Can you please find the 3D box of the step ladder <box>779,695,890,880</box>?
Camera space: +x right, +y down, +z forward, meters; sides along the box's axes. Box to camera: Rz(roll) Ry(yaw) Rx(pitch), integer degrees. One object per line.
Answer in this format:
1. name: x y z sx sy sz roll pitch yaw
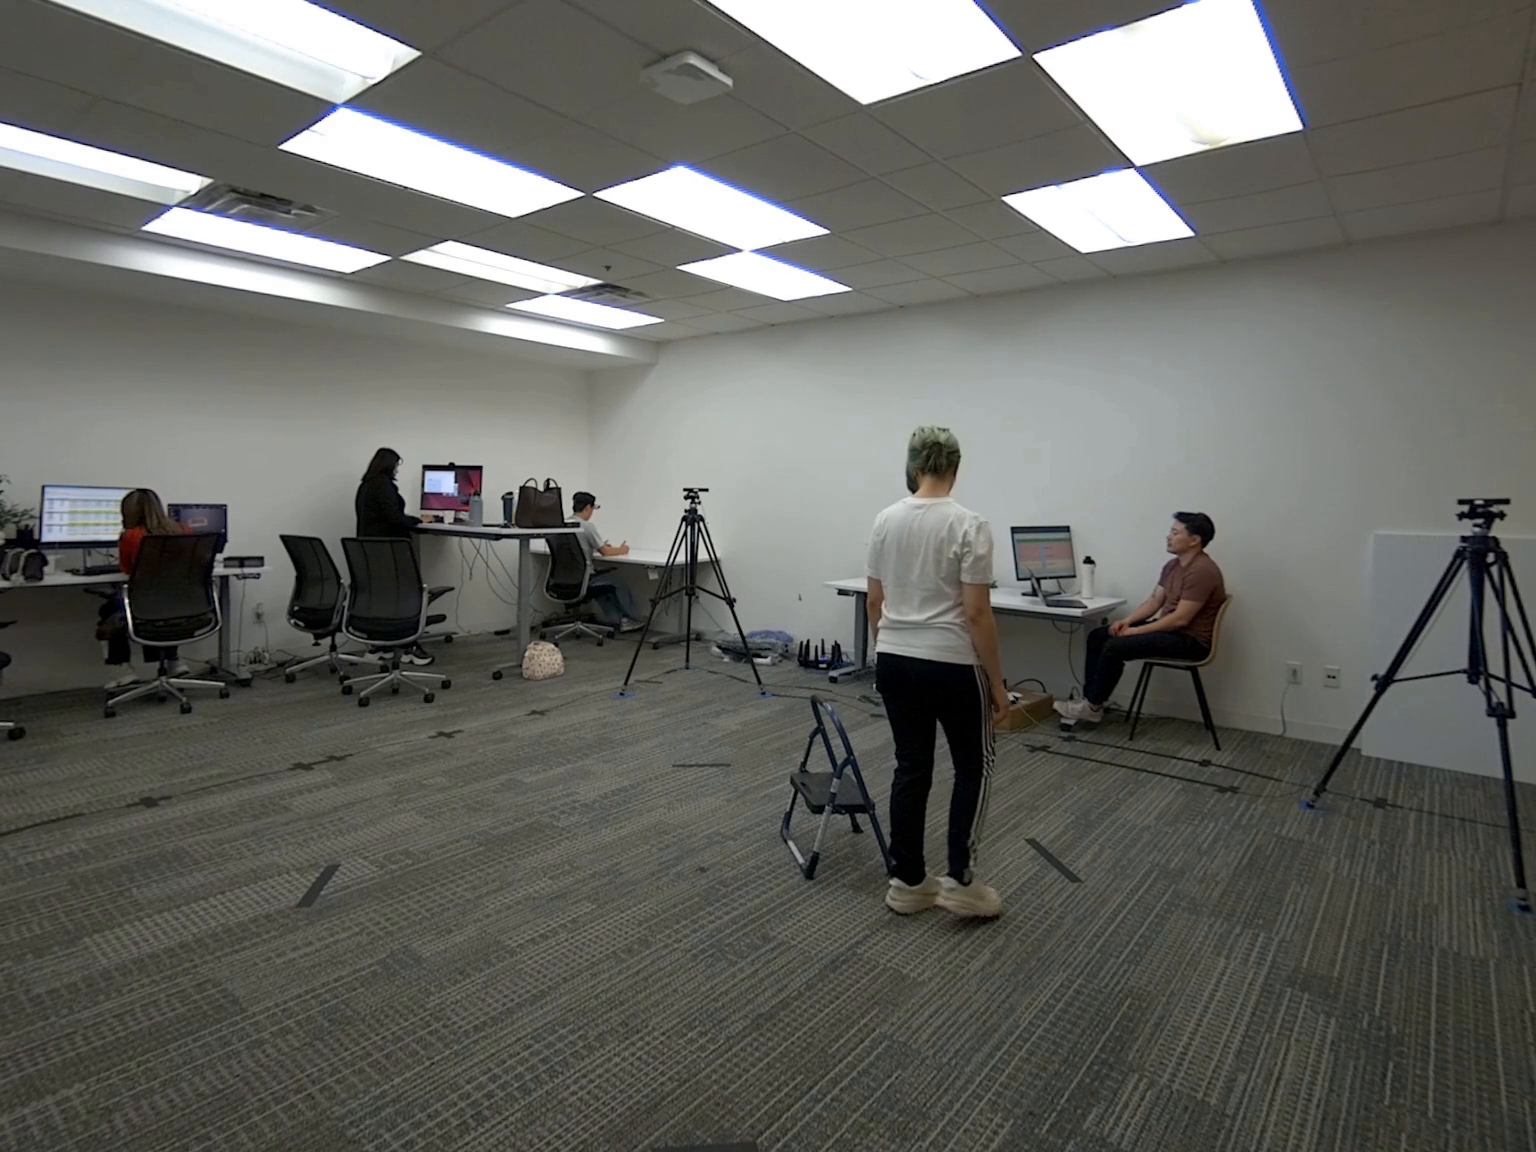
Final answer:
1. step ladder: 0.259 0.764 3.254 0.345 0.604 0.437 1 3 -12
